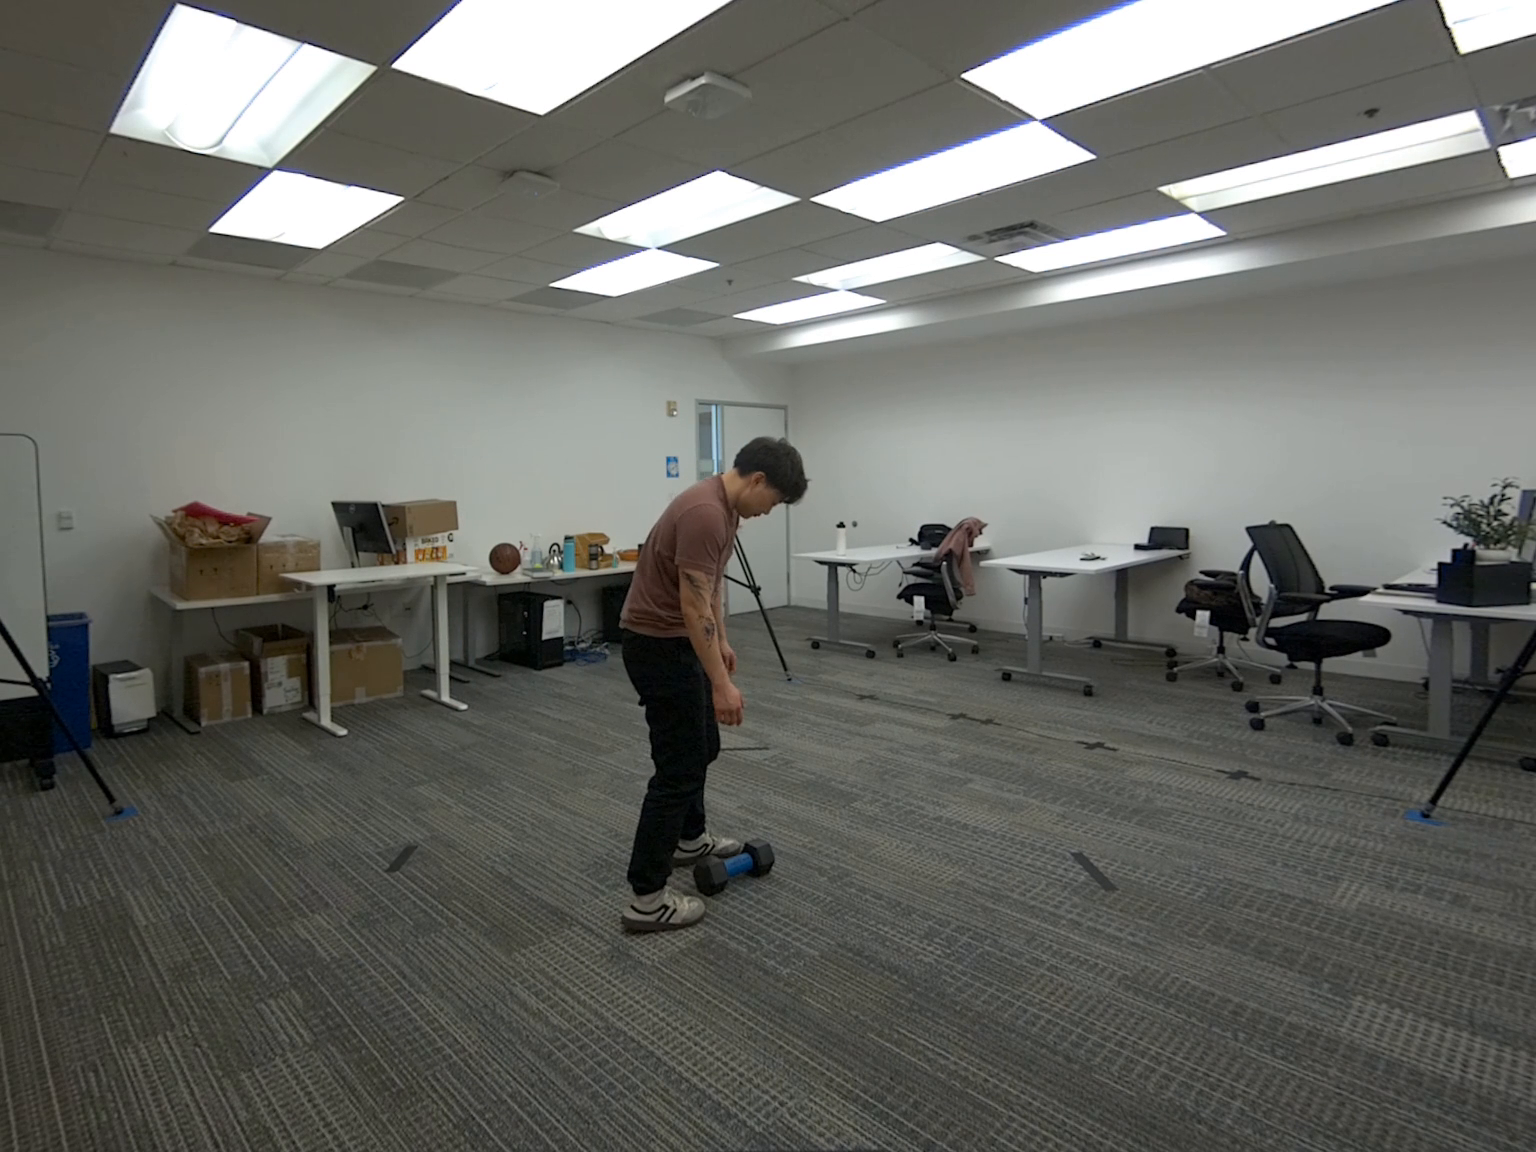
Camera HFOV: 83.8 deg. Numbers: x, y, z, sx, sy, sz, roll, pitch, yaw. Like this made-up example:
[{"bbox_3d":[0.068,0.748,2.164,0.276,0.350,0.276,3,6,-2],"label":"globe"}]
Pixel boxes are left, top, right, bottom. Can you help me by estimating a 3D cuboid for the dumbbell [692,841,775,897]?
[{"bbox_3d":[-0.113,1.006,2.967,0.286,0.121,0.113,-6,37,-40],"label":"dumbbell"}]
